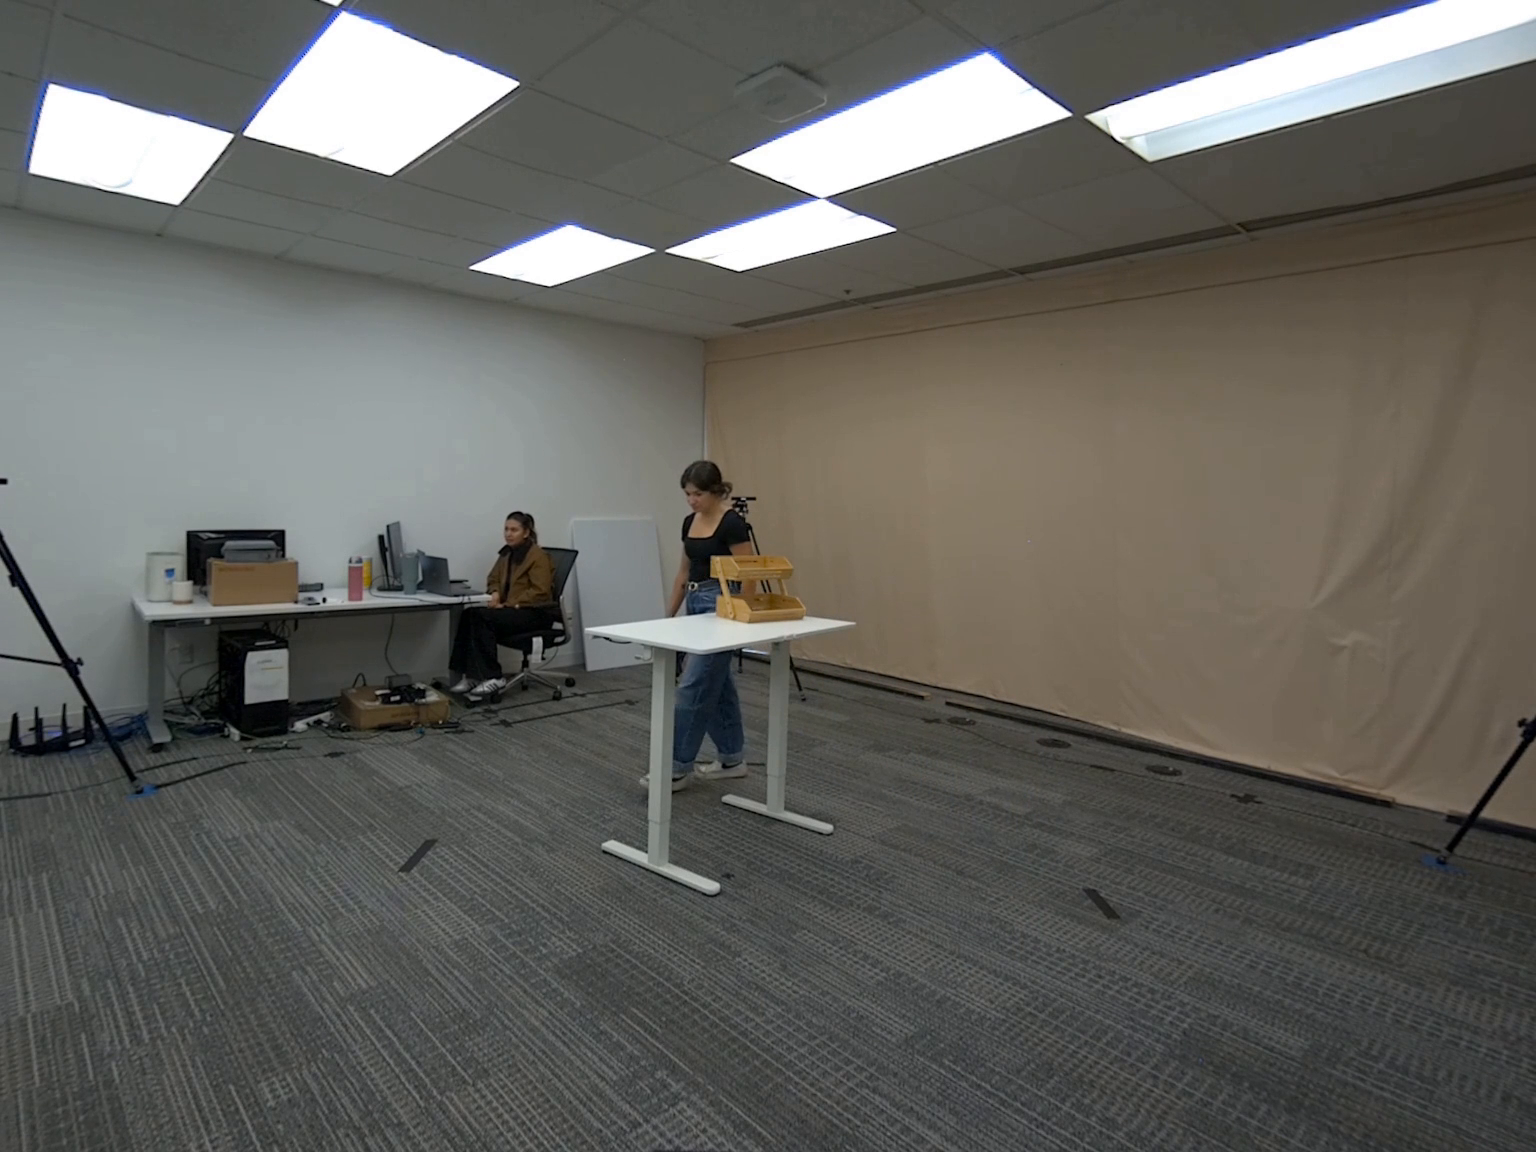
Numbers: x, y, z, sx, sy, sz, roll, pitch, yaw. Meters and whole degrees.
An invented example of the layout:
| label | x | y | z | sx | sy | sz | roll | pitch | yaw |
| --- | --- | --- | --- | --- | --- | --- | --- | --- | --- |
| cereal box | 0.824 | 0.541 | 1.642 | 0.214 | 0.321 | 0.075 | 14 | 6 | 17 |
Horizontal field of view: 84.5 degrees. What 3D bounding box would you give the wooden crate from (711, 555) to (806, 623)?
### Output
| label | x | y | z | sx | sy | sz | roll | pitch | yaw |
| --- | --- | --- | --- | --- | --- | --- | --- | --- | --- |
| wooden crate | -0.052 | 0.047 | 3.658 | 0.317 | 0.273 | 0.309 | -1 | 4 | -37 |
